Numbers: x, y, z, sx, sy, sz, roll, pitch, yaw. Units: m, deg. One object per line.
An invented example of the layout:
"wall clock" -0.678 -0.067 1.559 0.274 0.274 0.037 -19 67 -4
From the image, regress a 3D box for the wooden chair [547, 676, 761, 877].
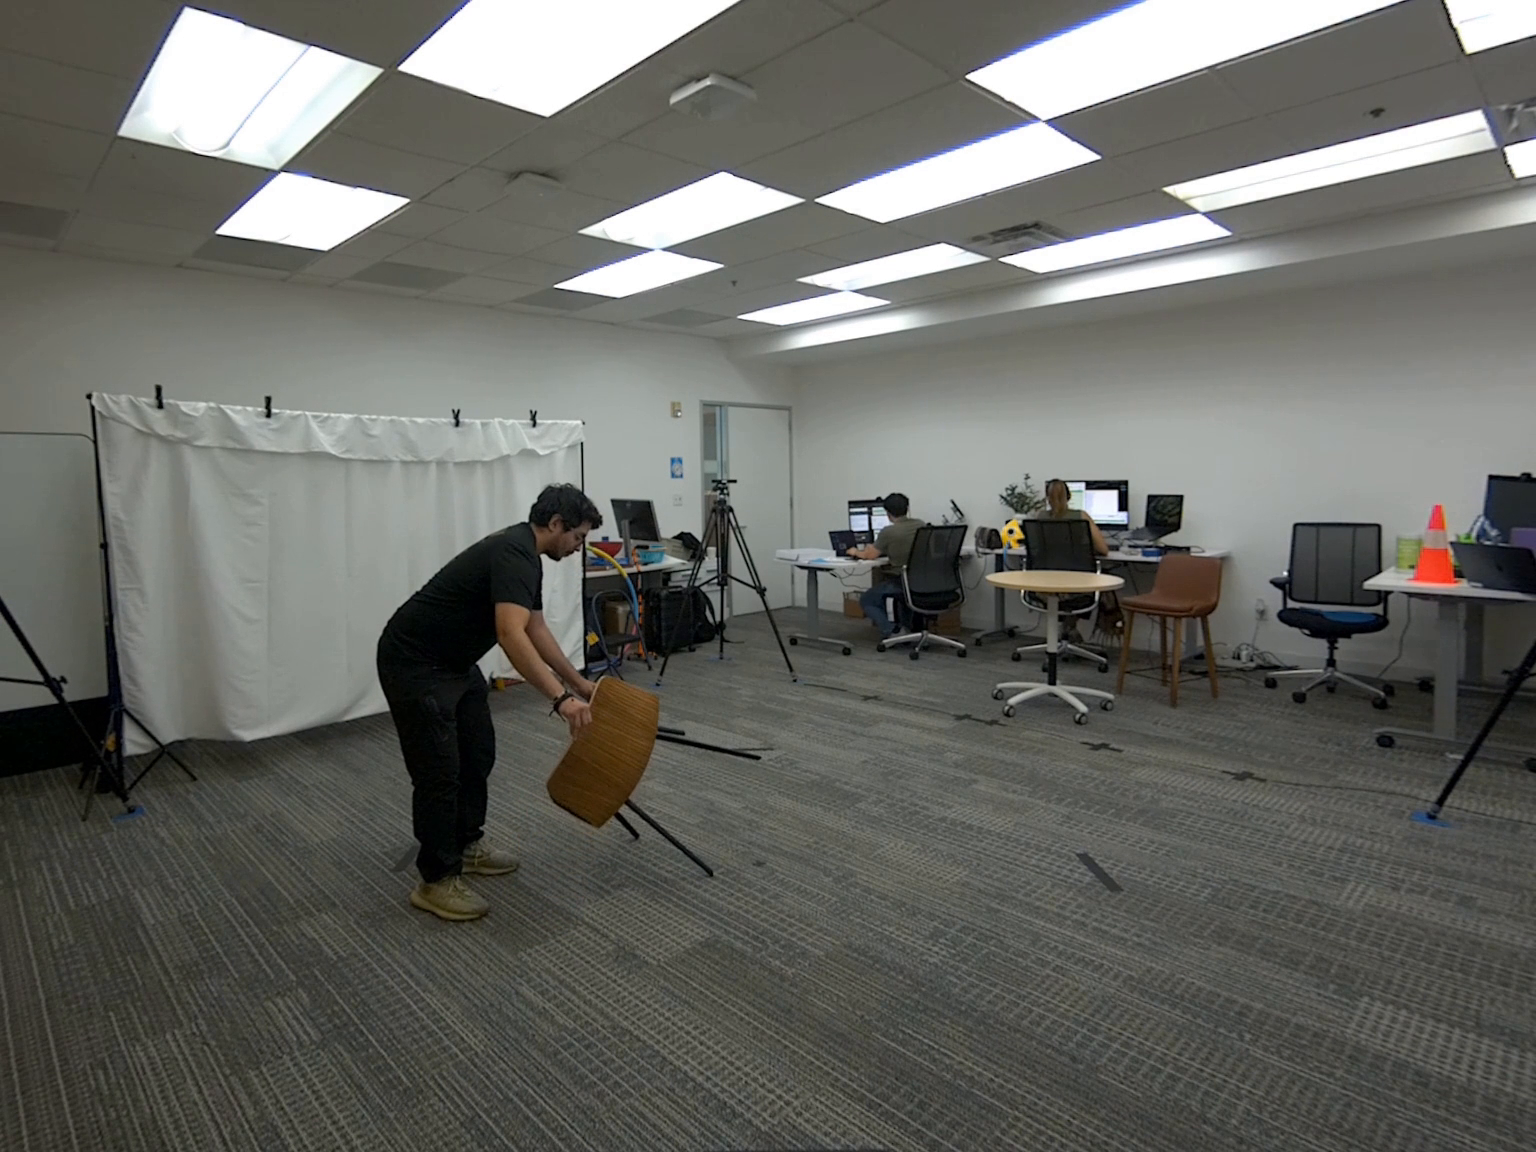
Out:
"wooden chair" -0.526 0.642 3.007 0.540 0.481 0.843 7 -24 42
